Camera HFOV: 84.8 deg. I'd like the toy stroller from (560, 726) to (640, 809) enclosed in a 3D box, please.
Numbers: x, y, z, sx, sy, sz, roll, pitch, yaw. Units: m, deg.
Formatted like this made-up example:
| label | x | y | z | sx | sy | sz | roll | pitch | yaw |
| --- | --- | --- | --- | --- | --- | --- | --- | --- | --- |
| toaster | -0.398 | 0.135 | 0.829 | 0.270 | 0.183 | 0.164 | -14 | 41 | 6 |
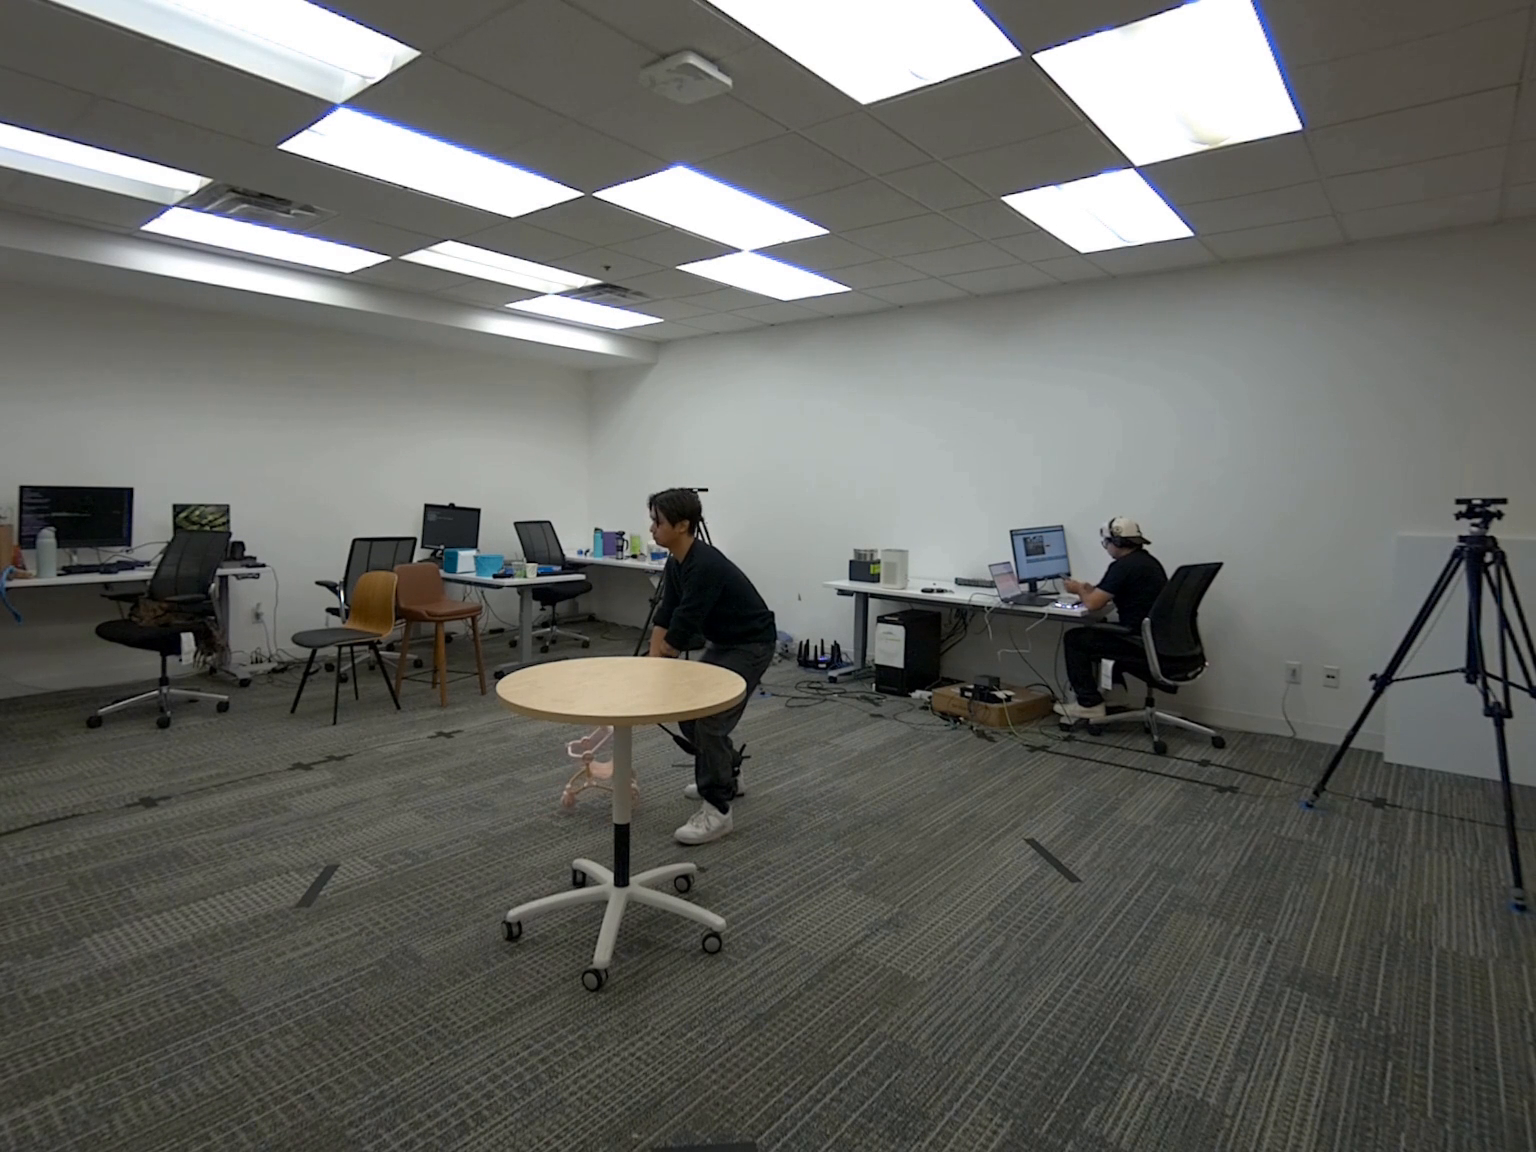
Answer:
| label | x | y | z | sx | sy | sz | roll | pitch | yaw |
| --- | --- | --- | --- | --- | --- | --- | --- | --- | --- |
| toy stroller | -0.716 | 0.736 | 3.633 | 0.338 | 0.533 | 0.285 | 6 | 4 | -10 |
